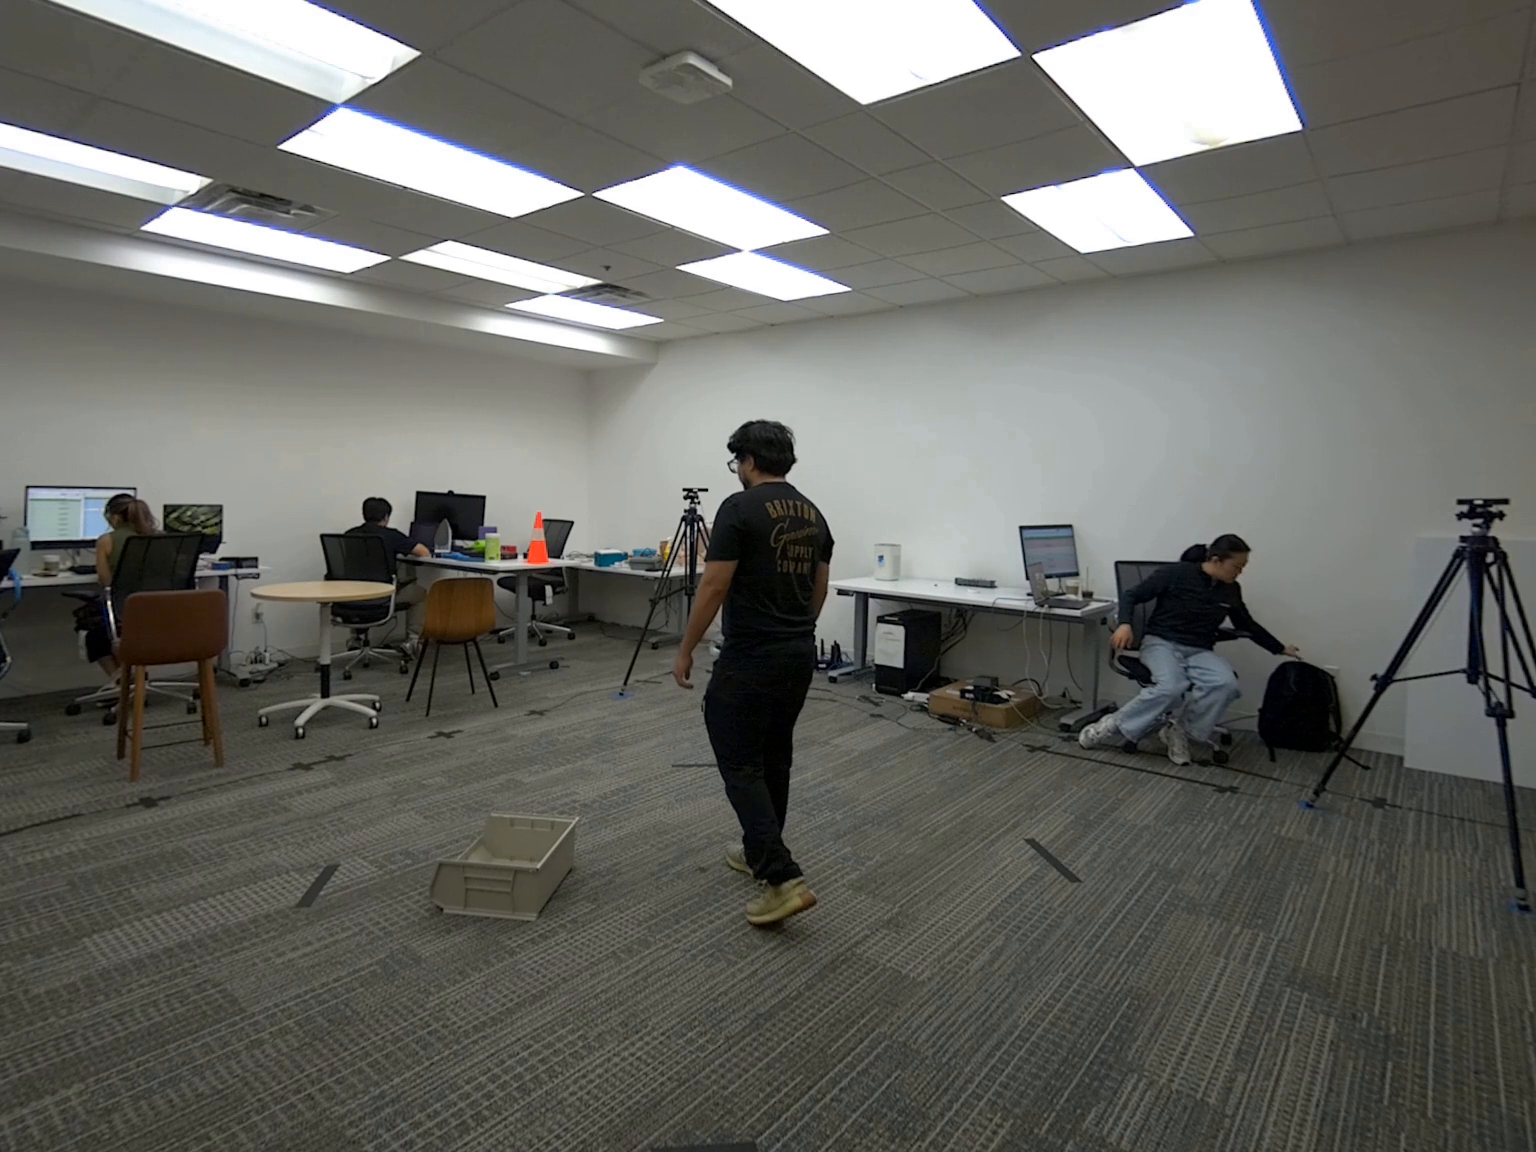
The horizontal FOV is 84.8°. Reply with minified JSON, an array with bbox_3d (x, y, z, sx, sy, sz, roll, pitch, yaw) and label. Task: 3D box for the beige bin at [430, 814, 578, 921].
[{"bbox_3d":[-0.915,0.990,2.934,0.380,0.188,0.420,3,5,6],"label":"beige bin"}]
